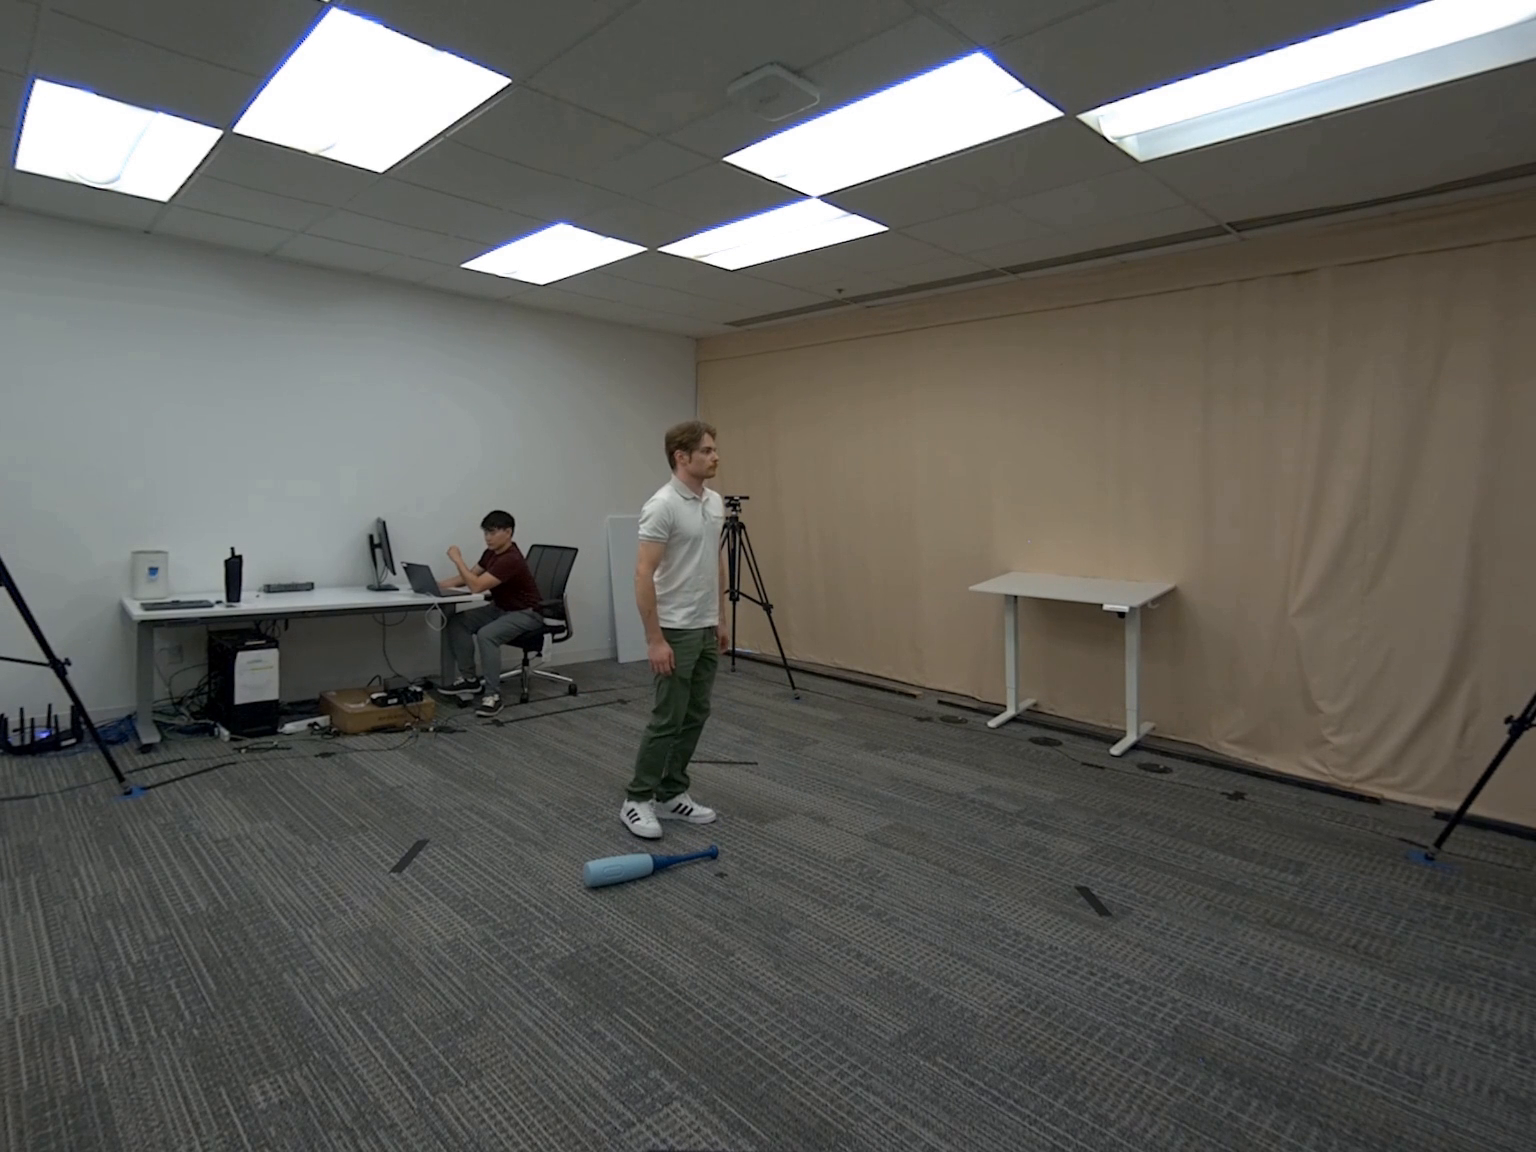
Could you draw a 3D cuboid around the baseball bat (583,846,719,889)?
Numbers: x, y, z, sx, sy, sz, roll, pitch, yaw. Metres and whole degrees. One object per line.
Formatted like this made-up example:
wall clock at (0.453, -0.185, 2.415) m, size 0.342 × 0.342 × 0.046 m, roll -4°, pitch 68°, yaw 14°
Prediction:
baseball bat at (-0.432, 1.062, 3.108) m, size 0.531 × 0.089 × 0.091 m, roll 2°, pitch 3°, yaw -33°
